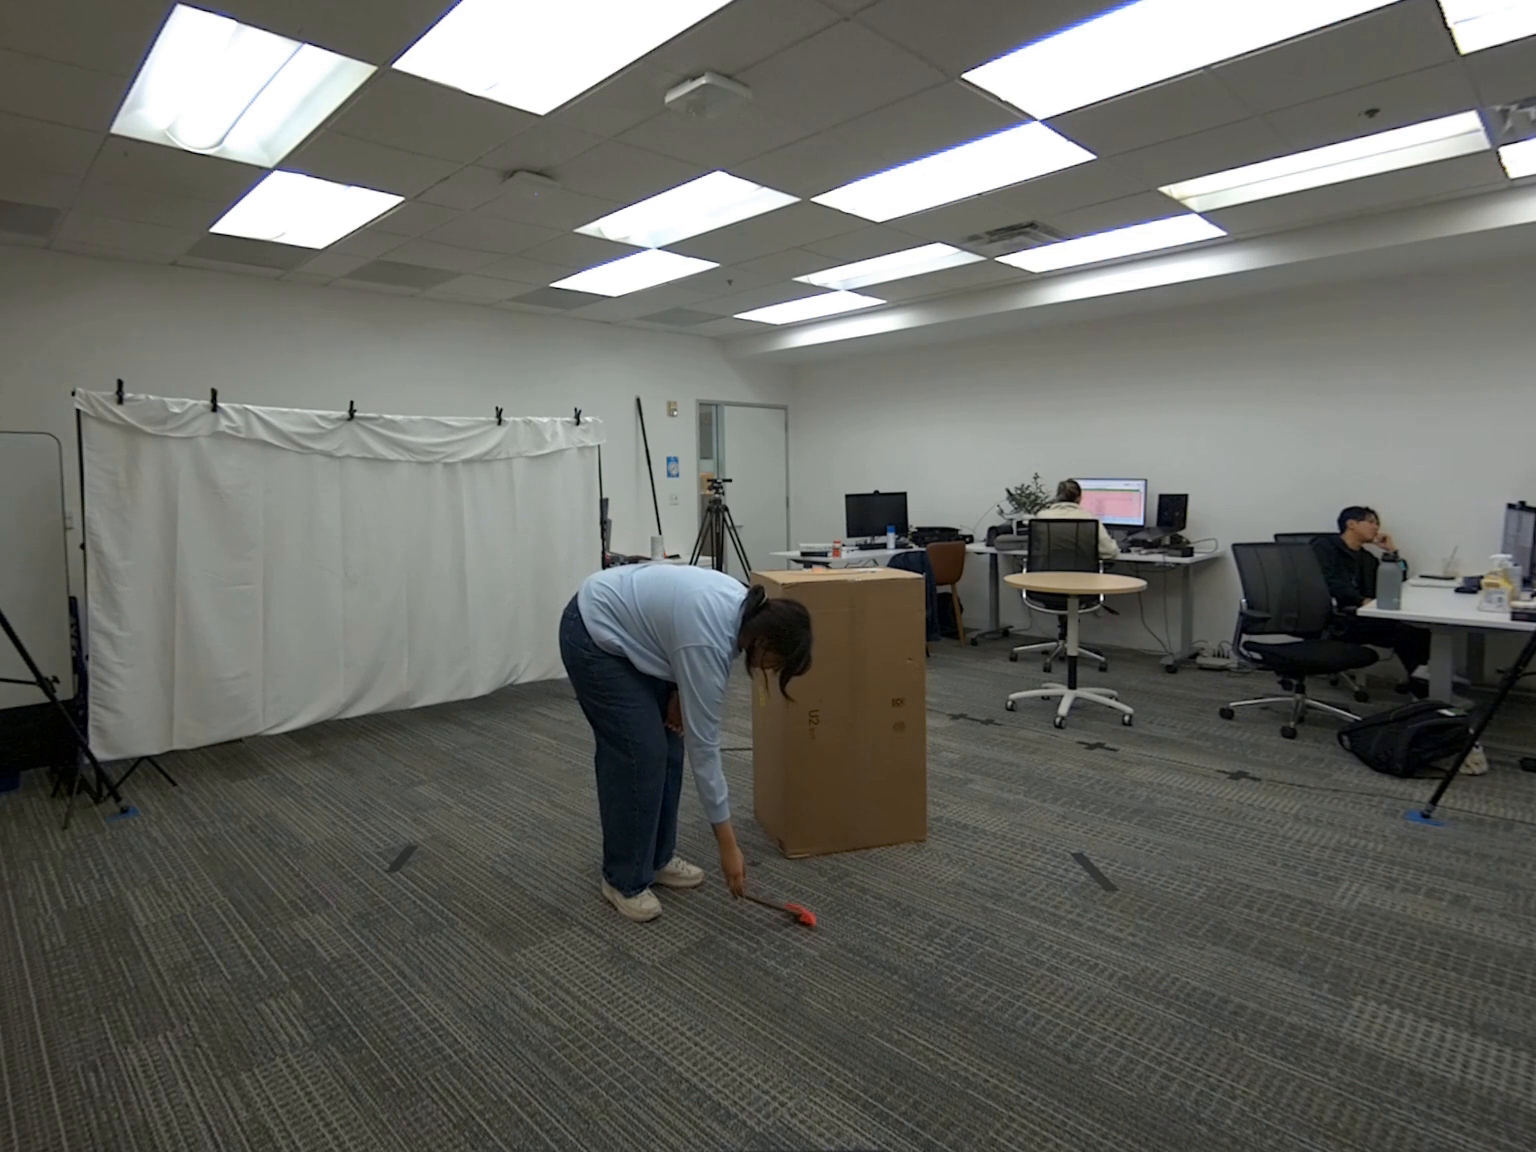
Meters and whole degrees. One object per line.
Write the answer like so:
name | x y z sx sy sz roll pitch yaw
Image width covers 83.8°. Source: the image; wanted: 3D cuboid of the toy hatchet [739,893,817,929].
toy hatchet | 0.013 1.033 2.698 0.271 0.029 0.130 23 -4 1
